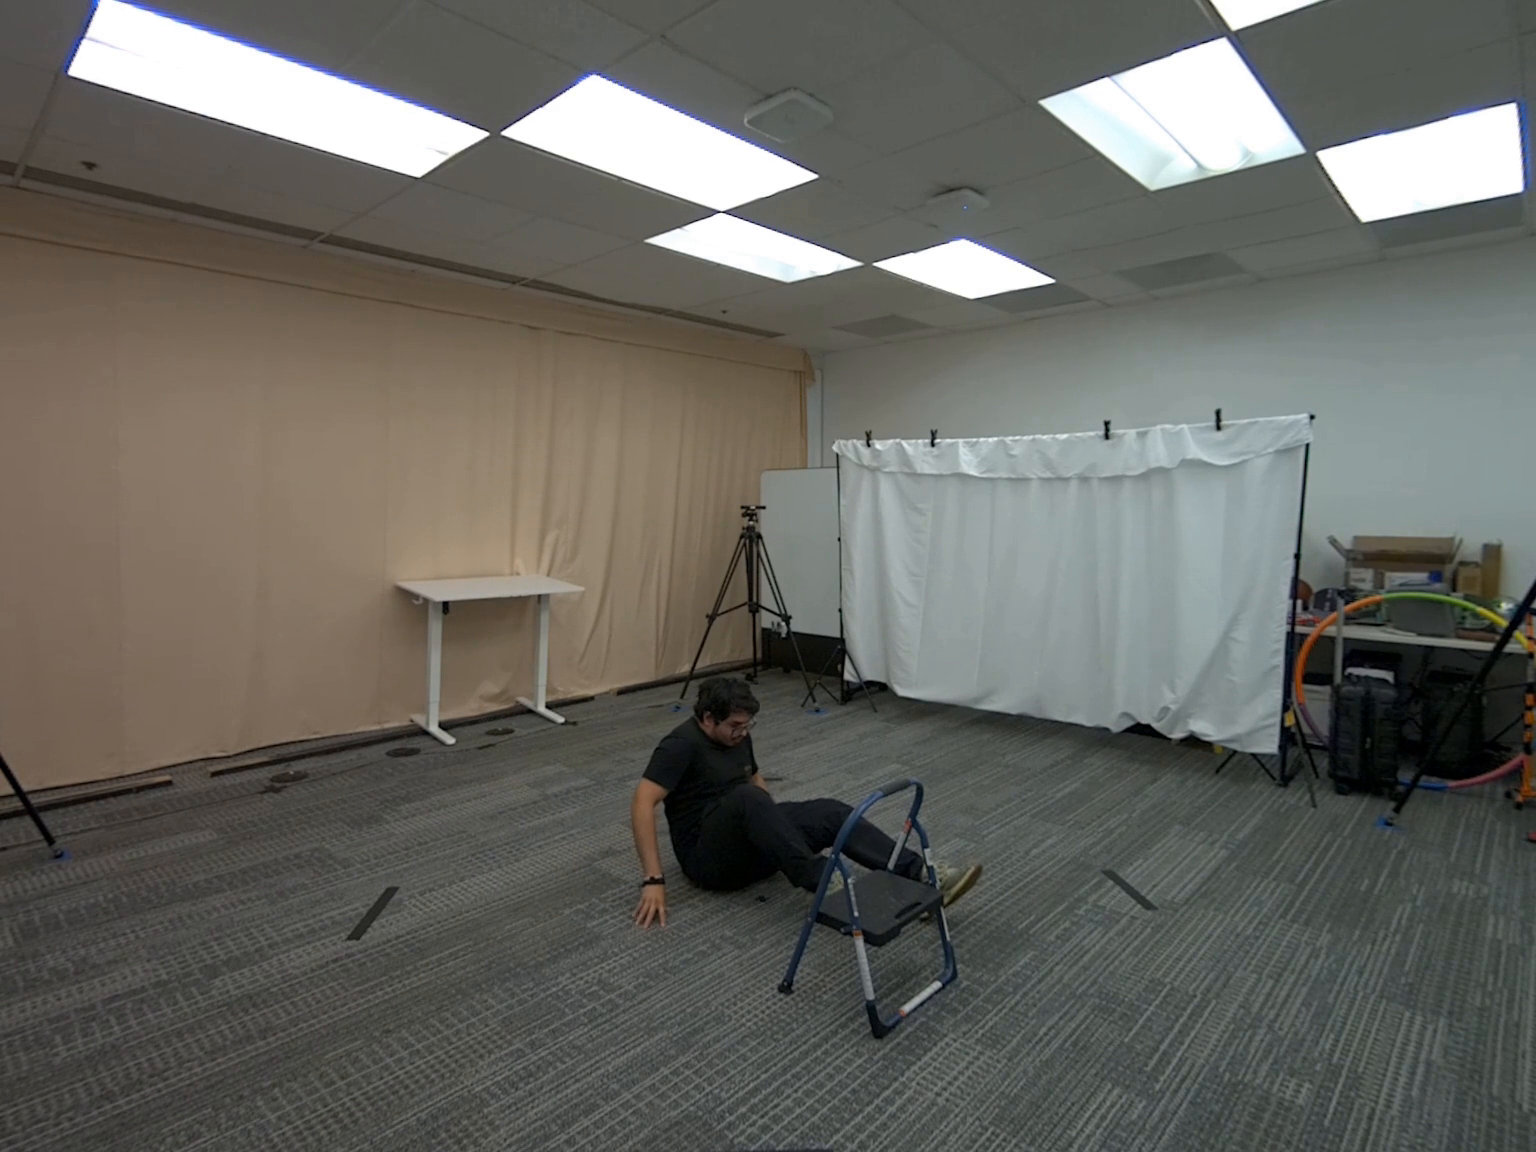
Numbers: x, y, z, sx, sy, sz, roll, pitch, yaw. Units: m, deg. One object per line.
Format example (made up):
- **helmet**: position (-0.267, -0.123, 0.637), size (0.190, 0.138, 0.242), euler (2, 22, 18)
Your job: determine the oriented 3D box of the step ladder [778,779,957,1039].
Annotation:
- **step ladder**: position (0.301, 0.887, 2.435), size (0.361, 0.605, 0.417), euler (3, 5, 42)
